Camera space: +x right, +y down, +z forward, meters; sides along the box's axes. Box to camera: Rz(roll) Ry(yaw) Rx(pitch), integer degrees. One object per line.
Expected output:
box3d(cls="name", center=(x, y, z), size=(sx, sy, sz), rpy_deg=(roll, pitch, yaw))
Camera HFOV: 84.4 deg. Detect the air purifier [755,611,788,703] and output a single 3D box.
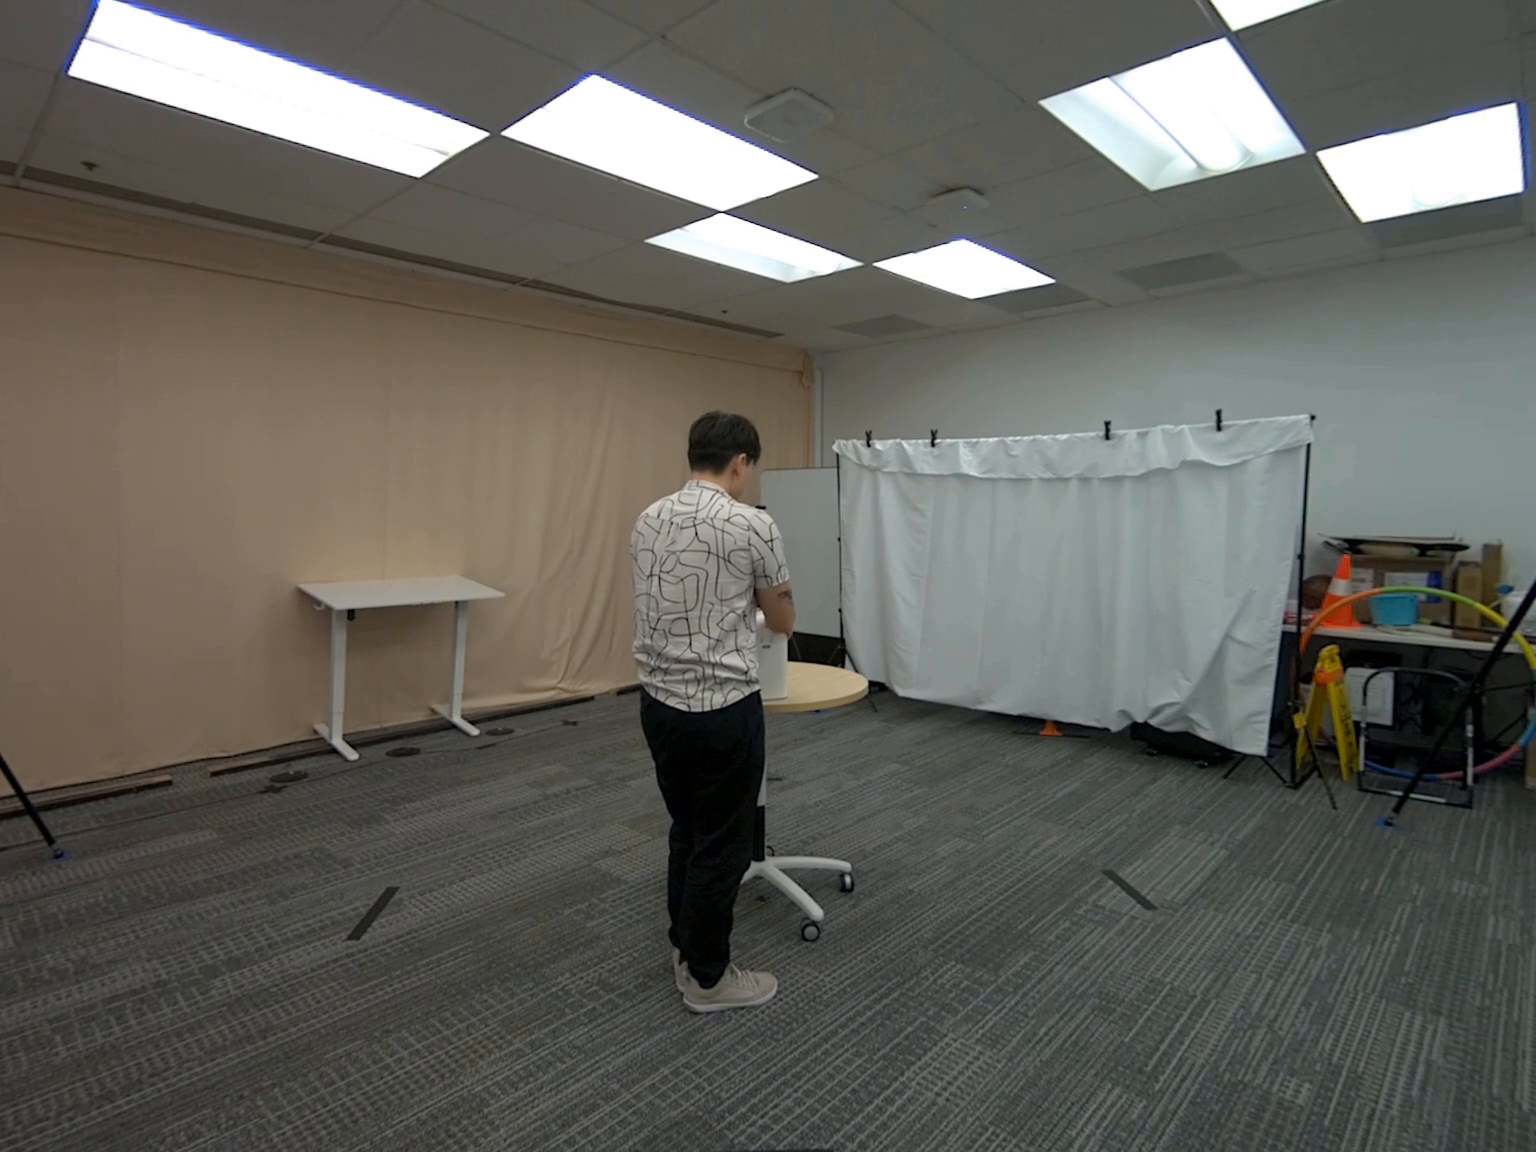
box3d(cls="air purifier", center=(-0.029, 0.254, 2.702), size=(0.169, 0.265, 0.173), rpy_deg=(-4, 3, -10))
